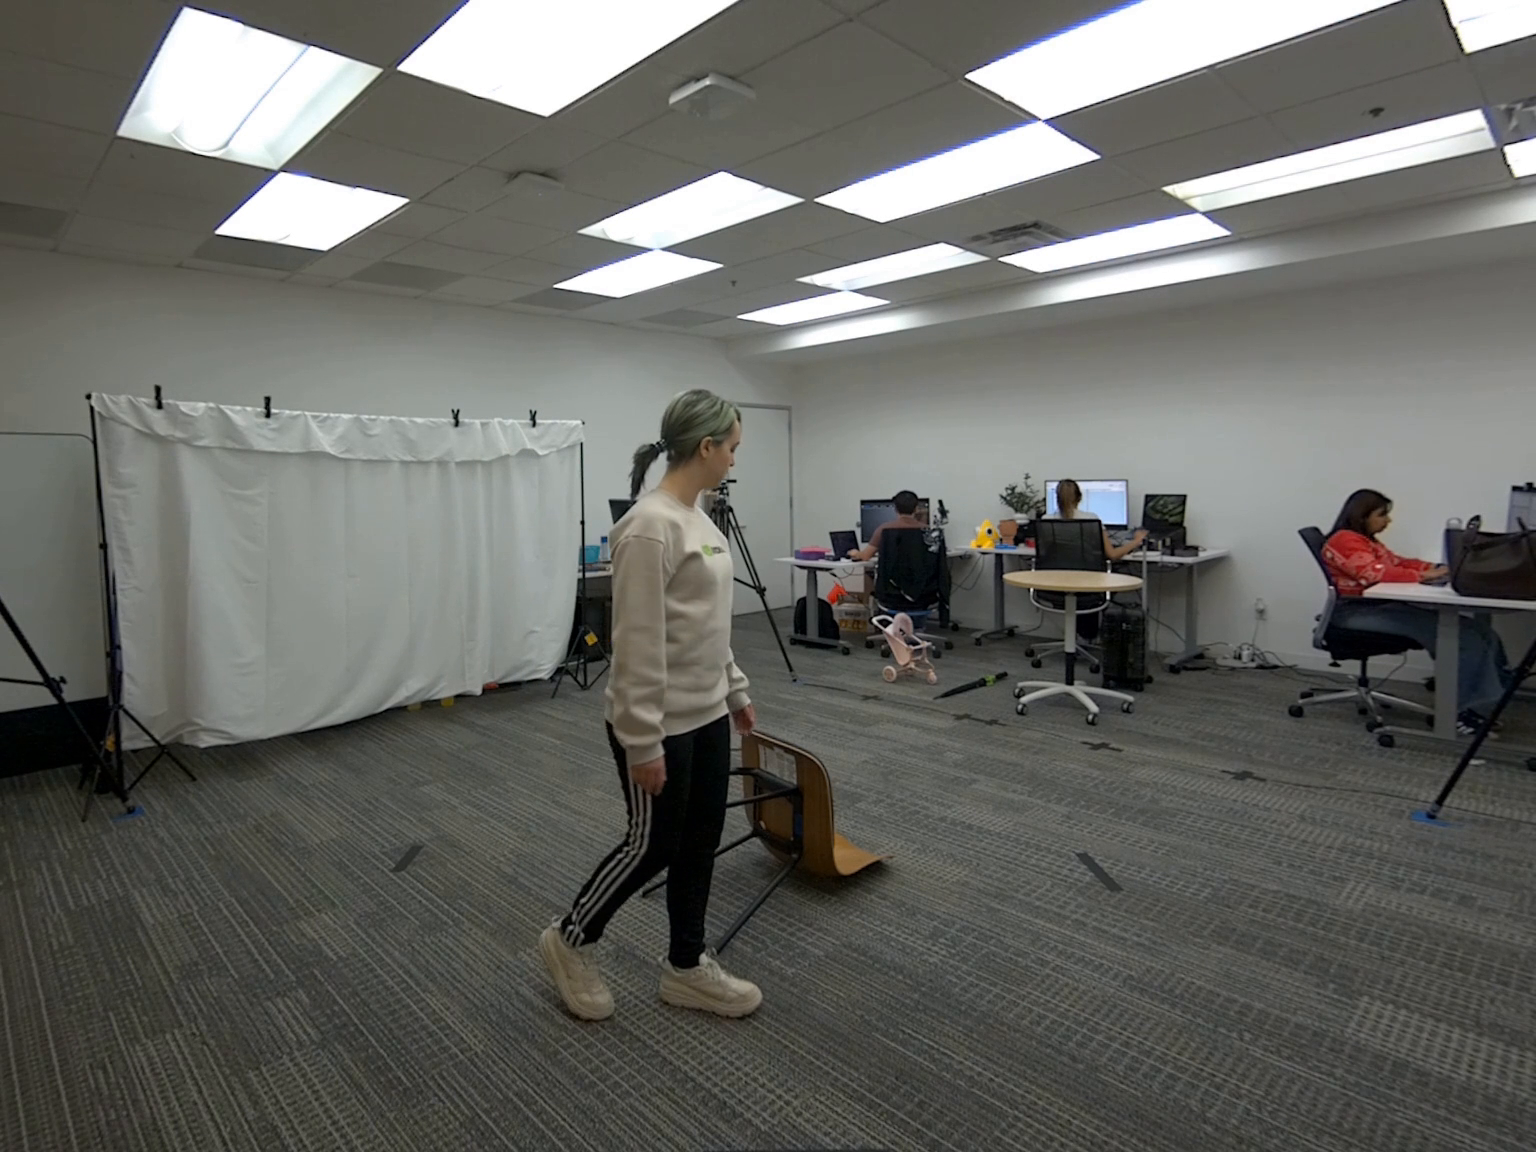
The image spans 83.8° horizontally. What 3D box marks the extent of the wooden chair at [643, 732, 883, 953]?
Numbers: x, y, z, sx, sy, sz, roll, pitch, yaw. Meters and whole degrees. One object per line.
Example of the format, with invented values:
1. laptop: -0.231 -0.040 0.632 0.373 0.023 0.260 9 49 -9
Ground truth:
1. wooden chair: 0.029 0.811 2.916 0.854 0.521 0.492 -4 6 -37
